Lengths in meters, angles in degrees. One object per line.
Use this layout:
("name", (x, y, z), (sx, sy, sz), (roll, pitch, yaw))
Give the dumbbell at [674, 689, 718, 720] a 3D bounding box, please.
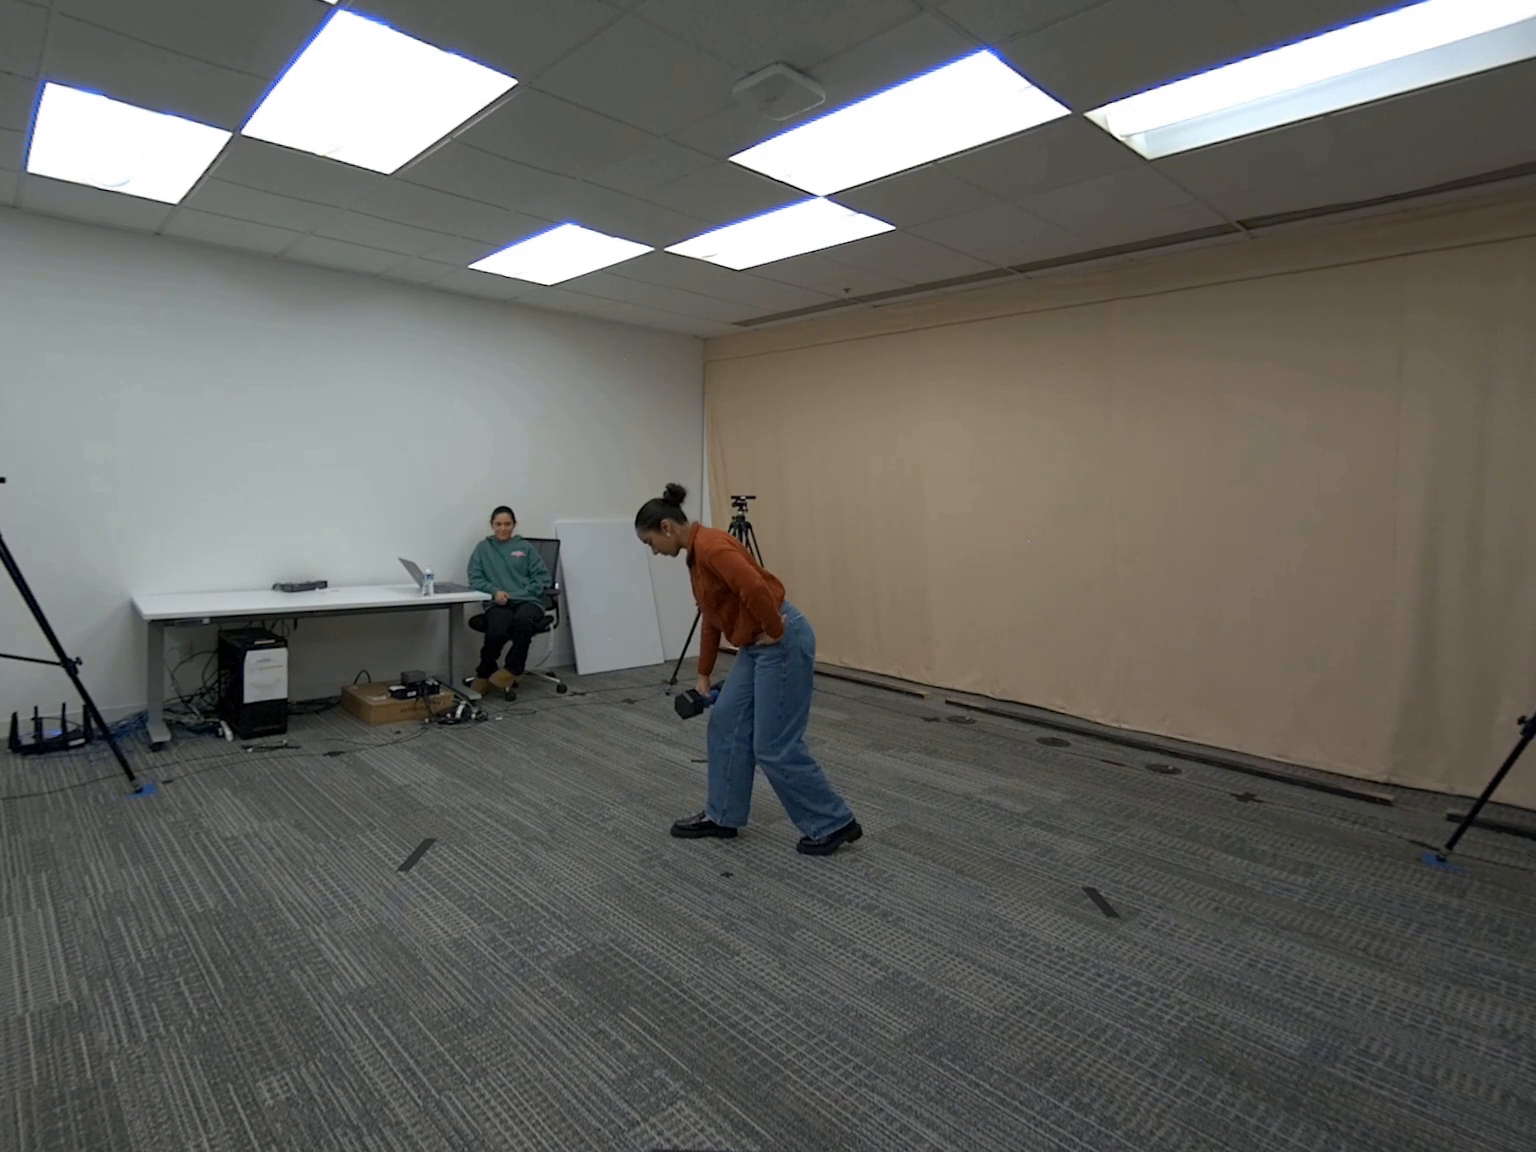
("dumbbell", (-0.263, 0.516, 3.517), (0.111, 0.122, 0.287), (10, 10, 39))
